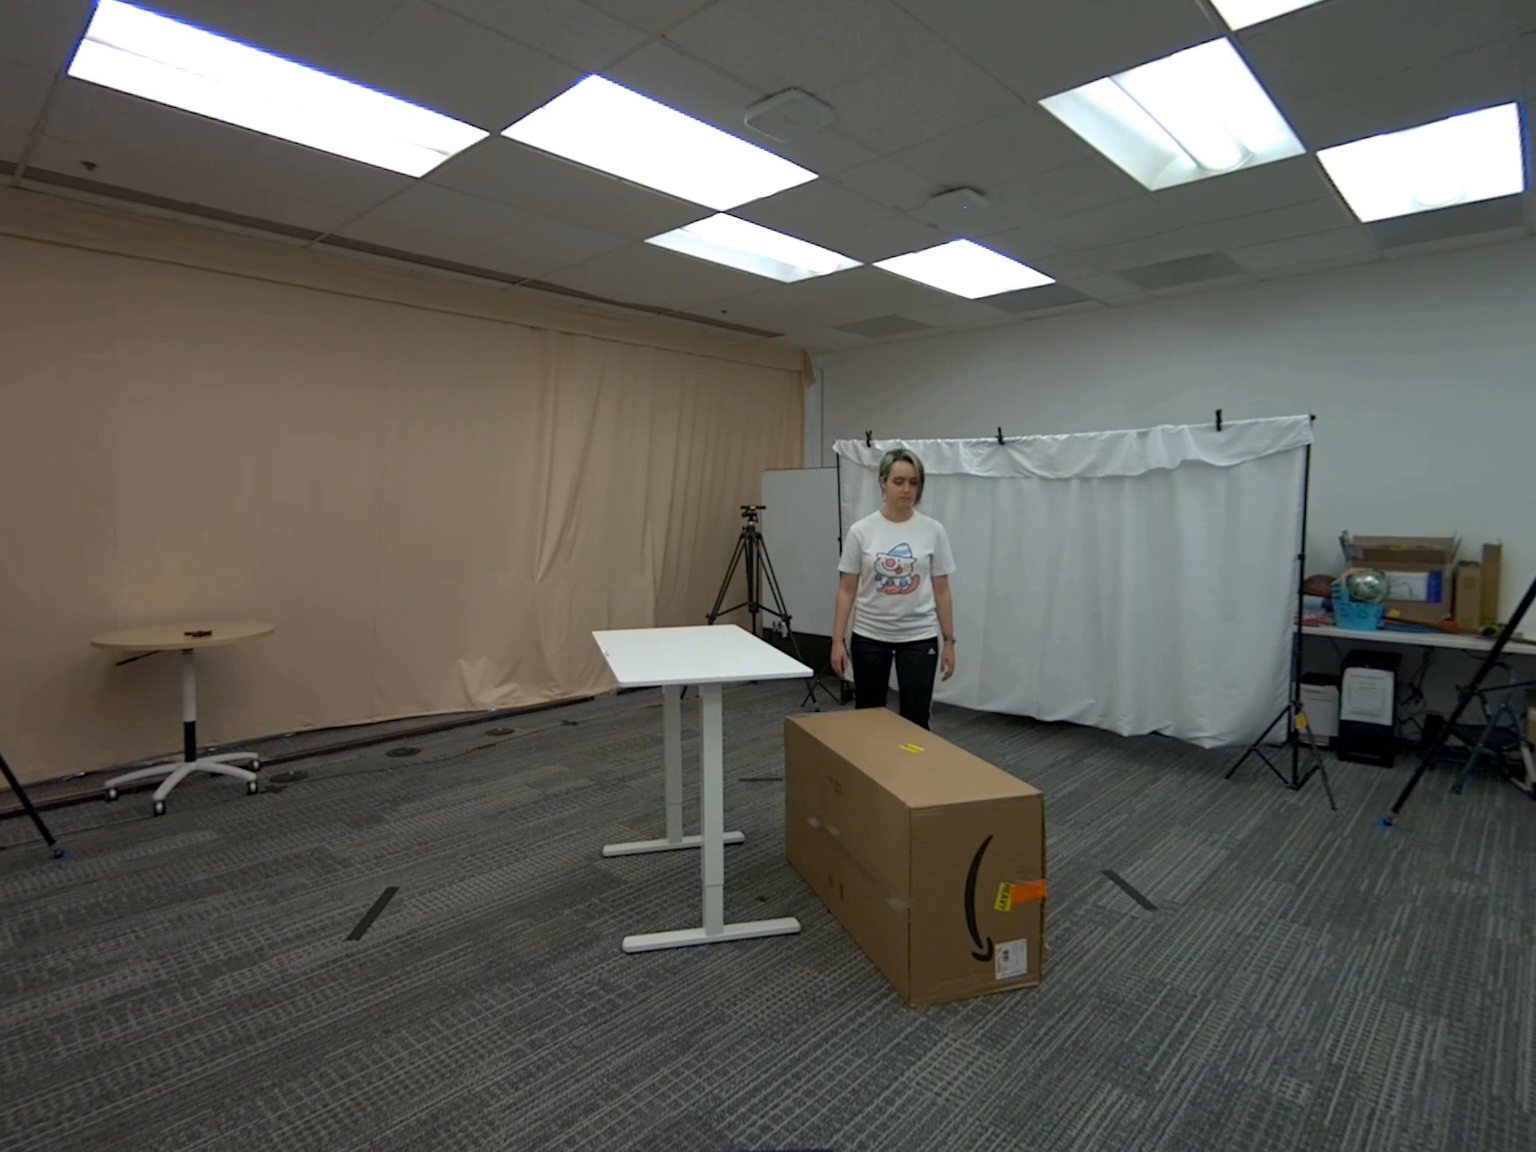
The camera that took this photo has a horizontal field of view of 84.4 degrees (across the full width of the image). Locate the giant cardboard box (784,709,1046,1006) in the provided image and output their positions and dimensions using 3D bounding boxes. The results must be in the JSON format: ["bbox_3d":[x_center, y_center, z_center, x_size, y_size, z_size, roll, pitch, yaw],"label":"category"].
[{"bbox_3d":[0.435,0.861,2.857,0.439,0.582,1.048,-1,5,-18],"label":"giant cardboard box"}]
